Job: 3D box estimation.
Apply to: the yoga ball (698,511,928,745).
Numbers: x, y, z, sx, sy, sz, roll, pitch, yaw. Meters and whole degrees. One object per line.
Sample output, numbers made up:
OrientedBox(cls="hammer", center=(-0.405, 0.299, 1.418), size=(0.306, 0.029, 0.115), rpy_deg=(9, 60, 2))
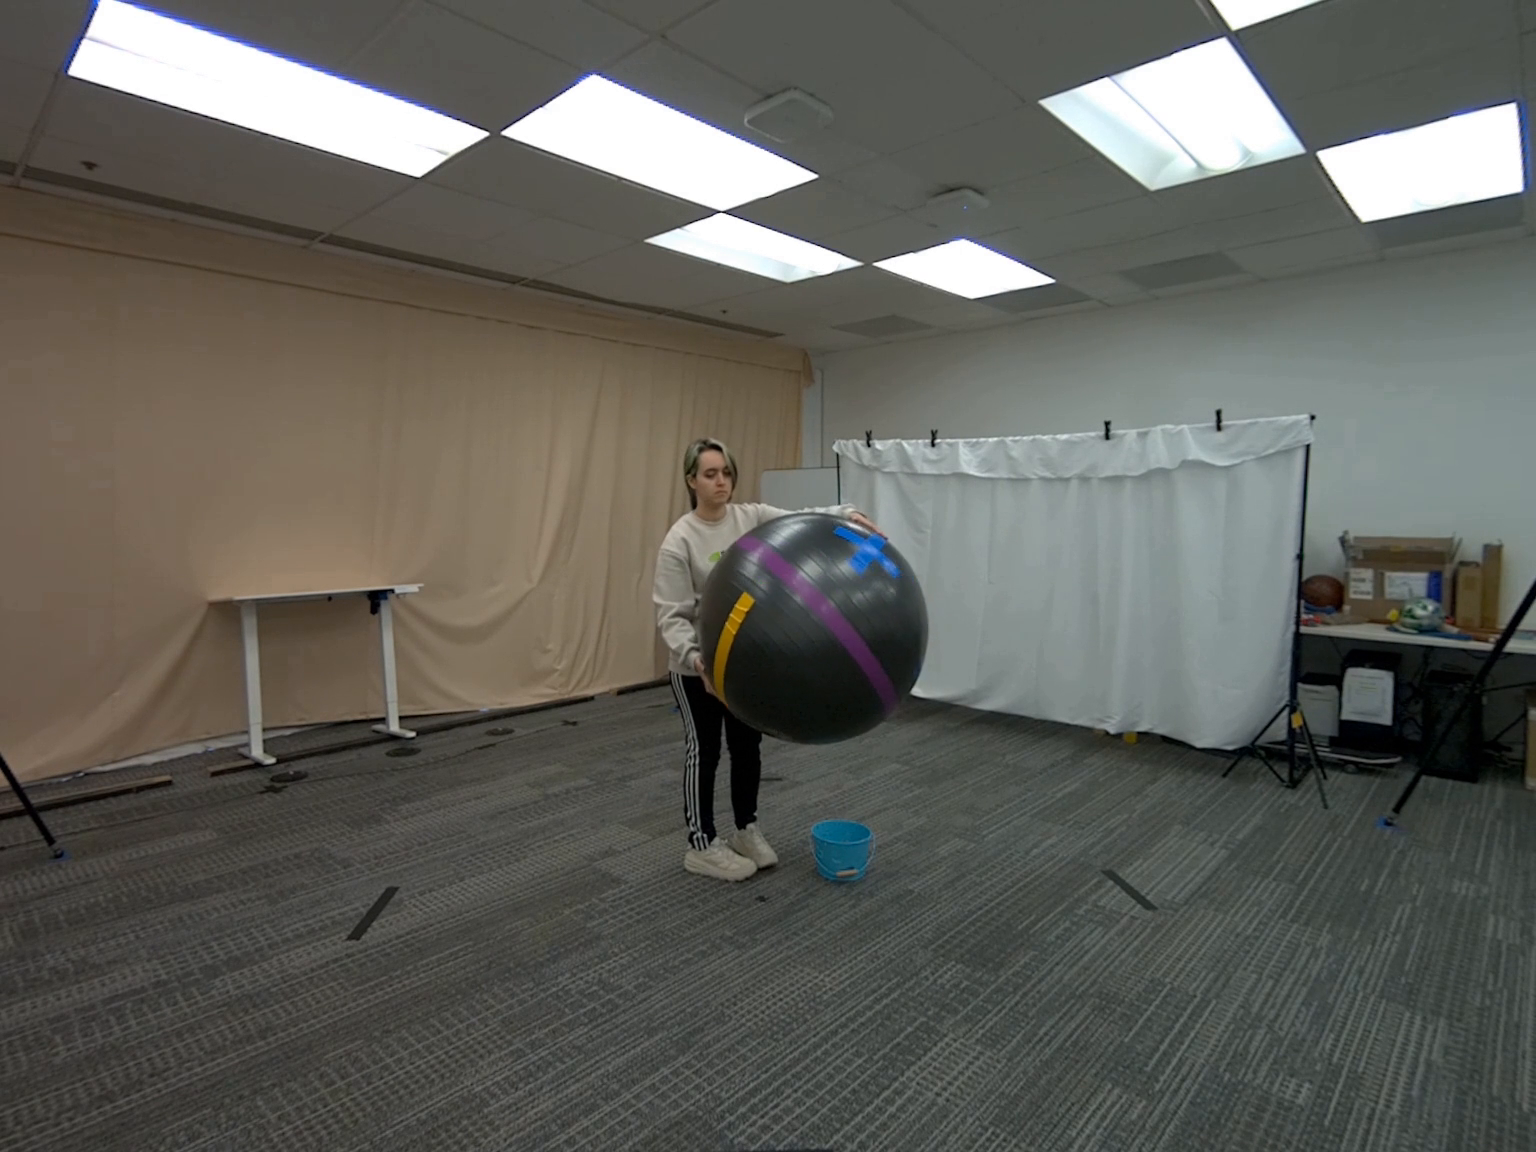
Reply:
OrientedBox(cls="yoga ball", center=(0.146, 0.178, 2.777), size=(0.757, 0.756, 0.761), rpy_deg=(0, 4, -2))
